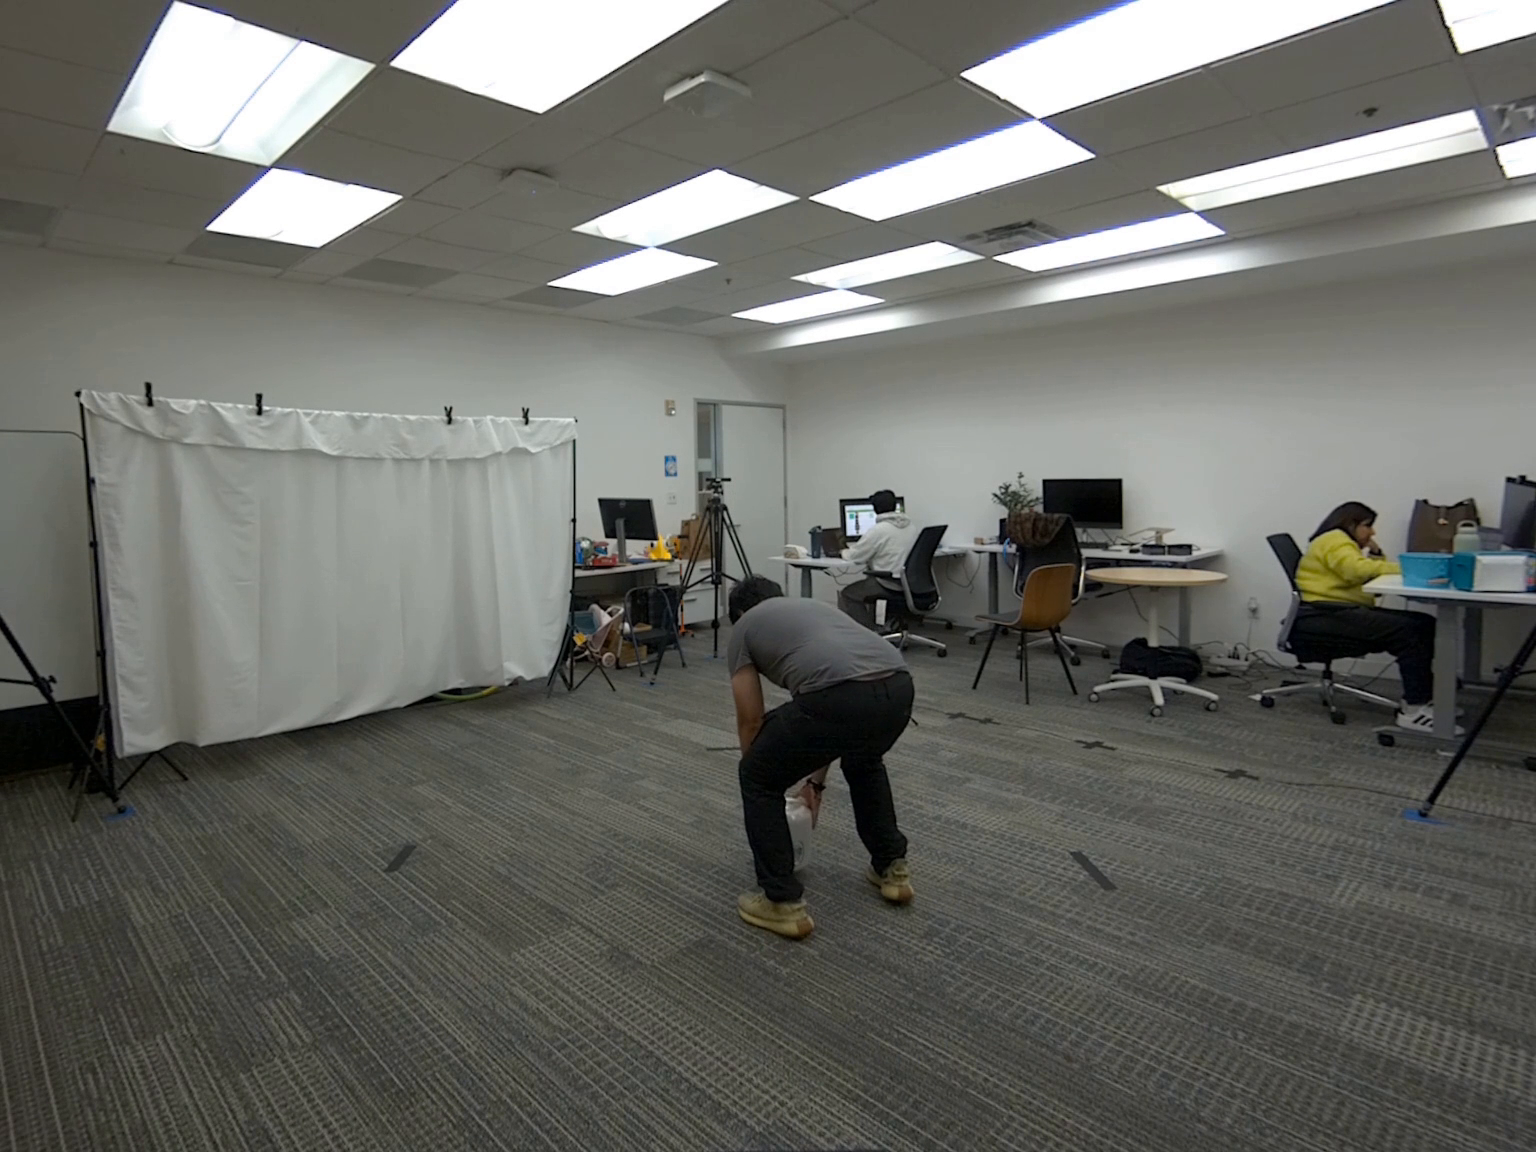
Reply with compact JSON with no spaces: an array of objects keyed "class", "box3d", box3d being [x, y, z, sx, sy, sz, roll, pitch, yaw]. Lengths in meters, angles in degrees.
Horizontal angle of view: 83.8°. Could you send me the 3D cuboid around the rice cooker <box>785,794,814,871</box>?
[{"class":"rice cooker","box3d":[0.059,0.905,3.029,0.216,0.232,0.223,-1,4,-24]}]
